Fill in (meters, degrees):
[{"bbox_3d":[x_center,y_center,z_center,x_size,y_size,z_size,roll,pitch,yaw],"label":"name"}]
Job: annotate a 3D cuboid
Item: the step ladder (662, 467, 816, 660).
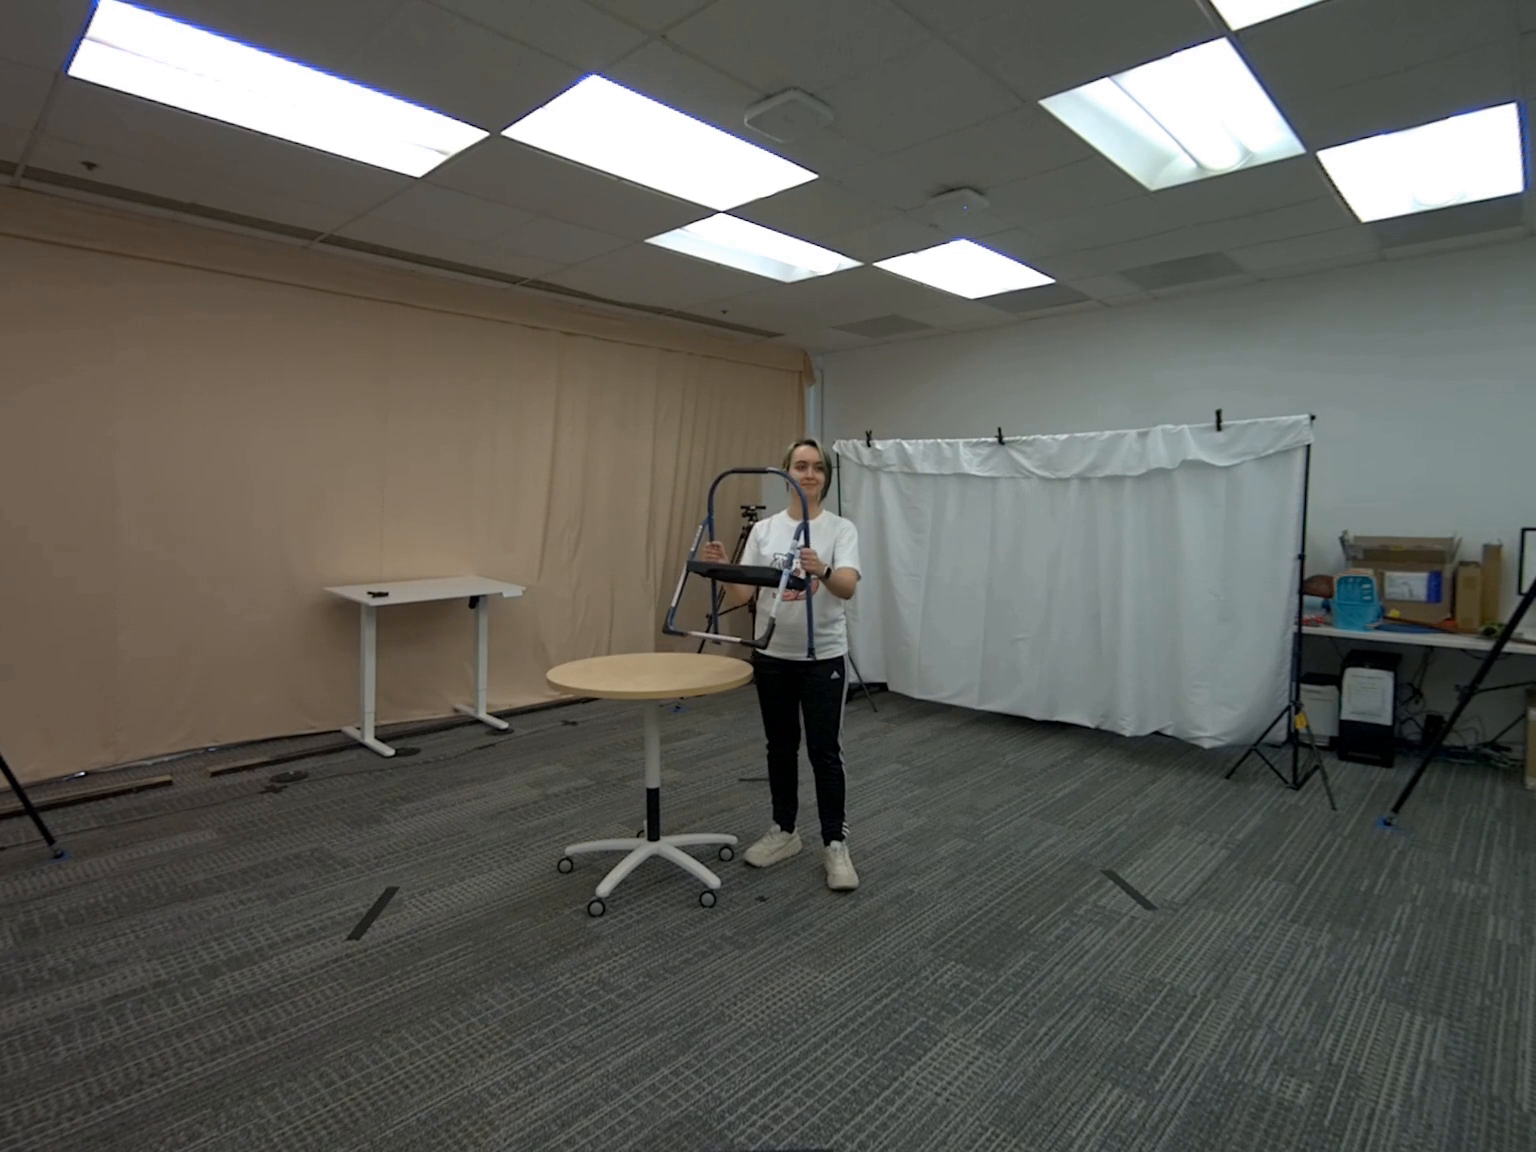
[{"bbox_3d":[-0.047,-0.058,2.885,0.444,0.608,0.337,4,-7,33],"label":"step ladder"}]
